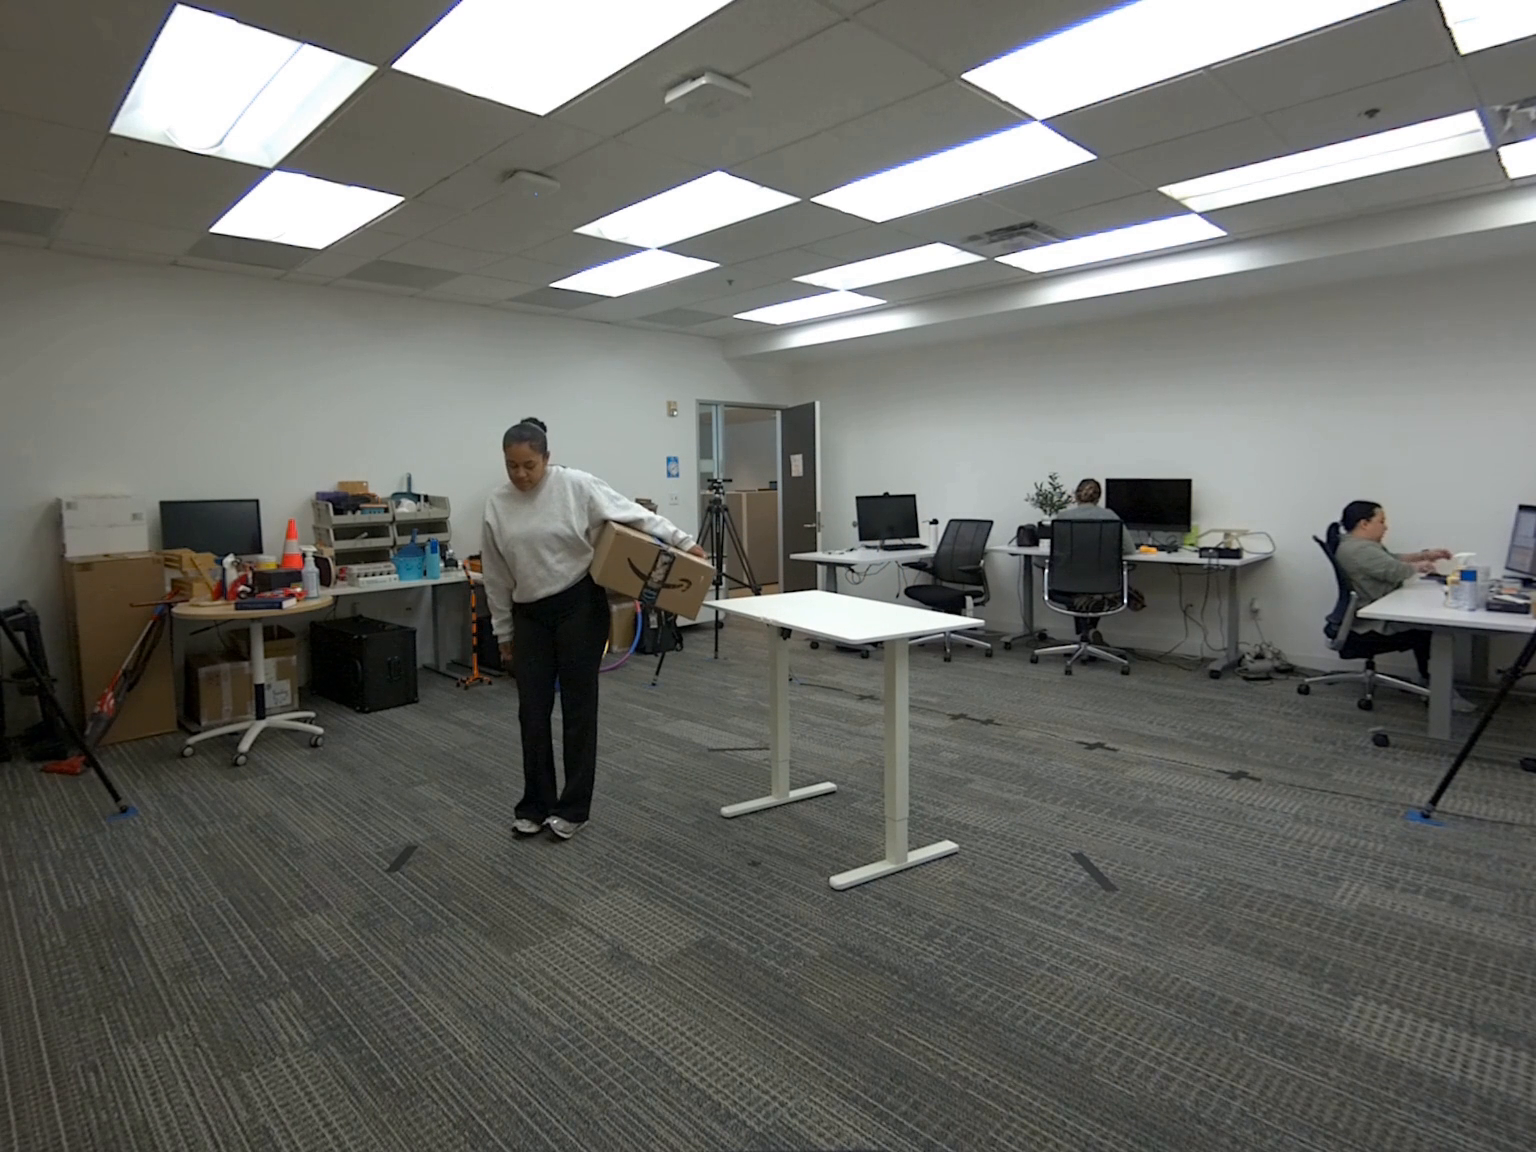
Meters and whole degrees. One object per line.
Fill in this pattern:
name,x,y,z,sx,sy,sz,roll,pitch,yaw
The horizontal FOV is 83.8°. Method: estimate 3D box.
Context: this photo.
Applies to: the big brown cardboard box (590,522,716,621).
big brown cardboard box,-0.500,-0.061,3.437,0.408,0.233,0.603,22,5,-20
